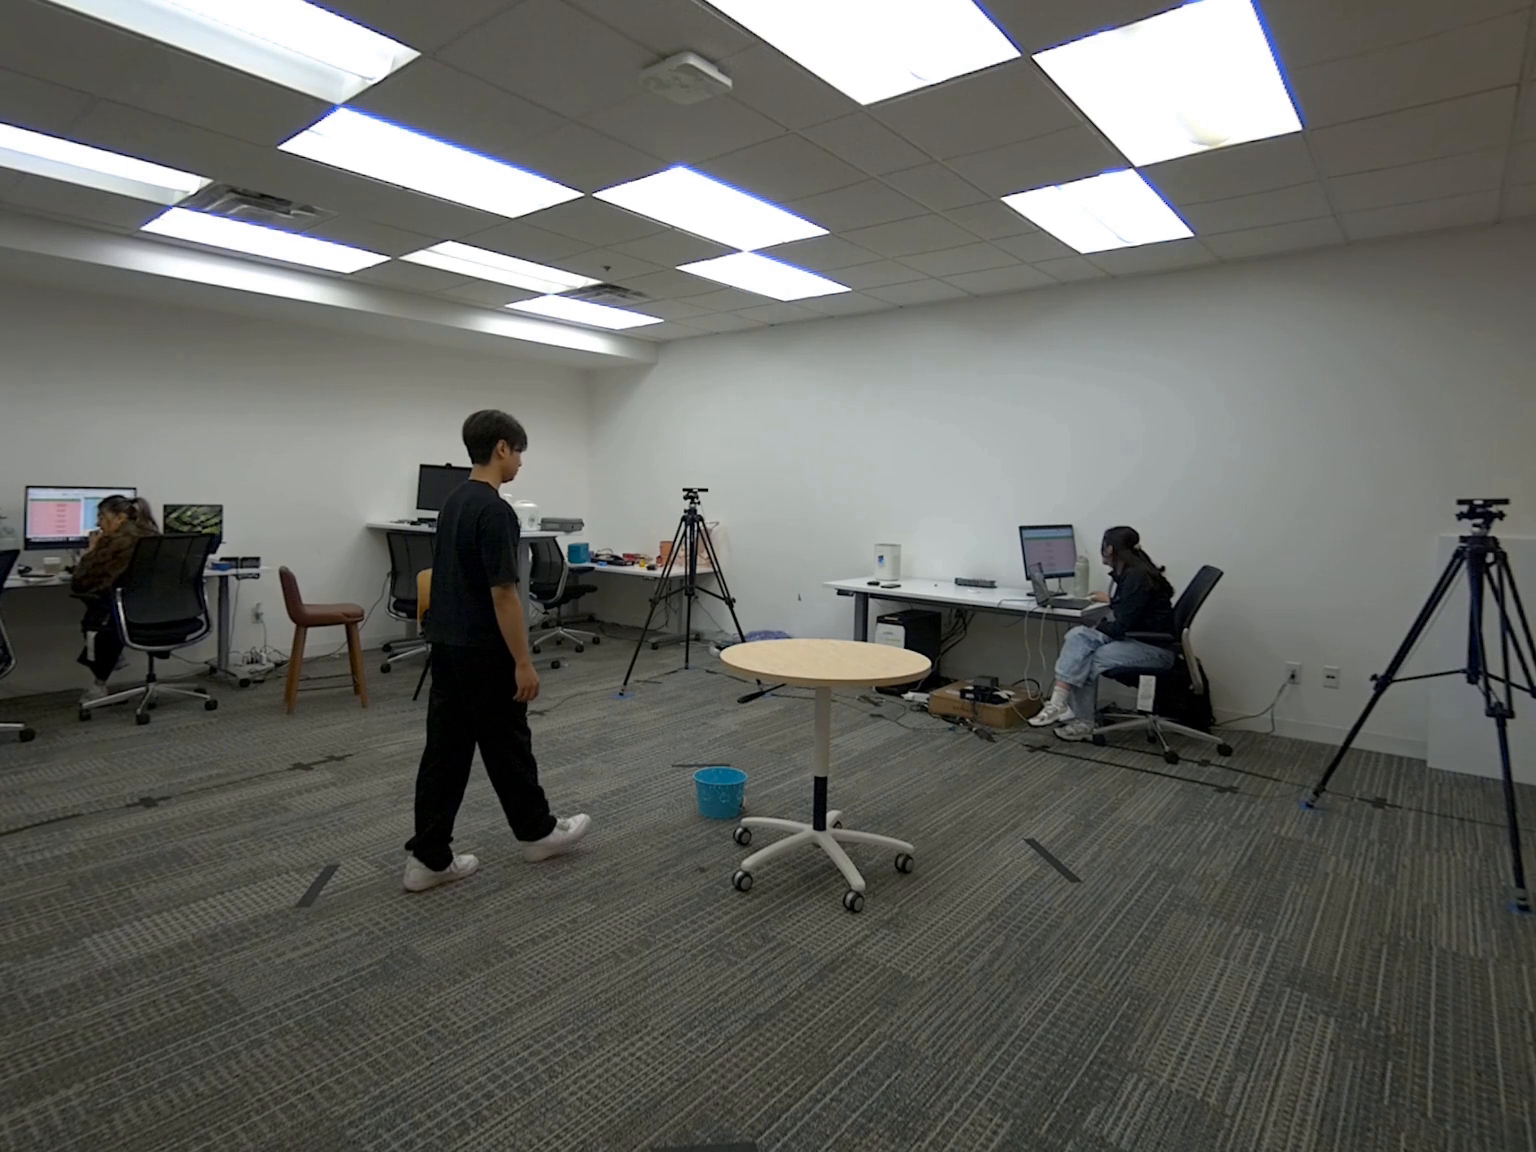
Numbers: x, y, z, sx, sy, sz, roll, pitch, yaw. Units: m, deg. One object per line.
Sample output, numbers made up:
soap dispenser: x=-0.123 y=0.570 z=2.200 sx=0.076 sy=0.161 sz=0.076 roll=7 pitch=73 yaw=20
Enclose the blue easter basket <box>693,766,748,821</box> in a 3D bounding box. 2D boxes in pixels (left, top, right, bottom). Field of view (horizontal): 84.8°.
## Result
blue easter basket: x=-0.213 y=0.933 z=3.685 sx=0.243 sy=0.155 sz=0.245 roll=1 pitch=6 yaw=-2
